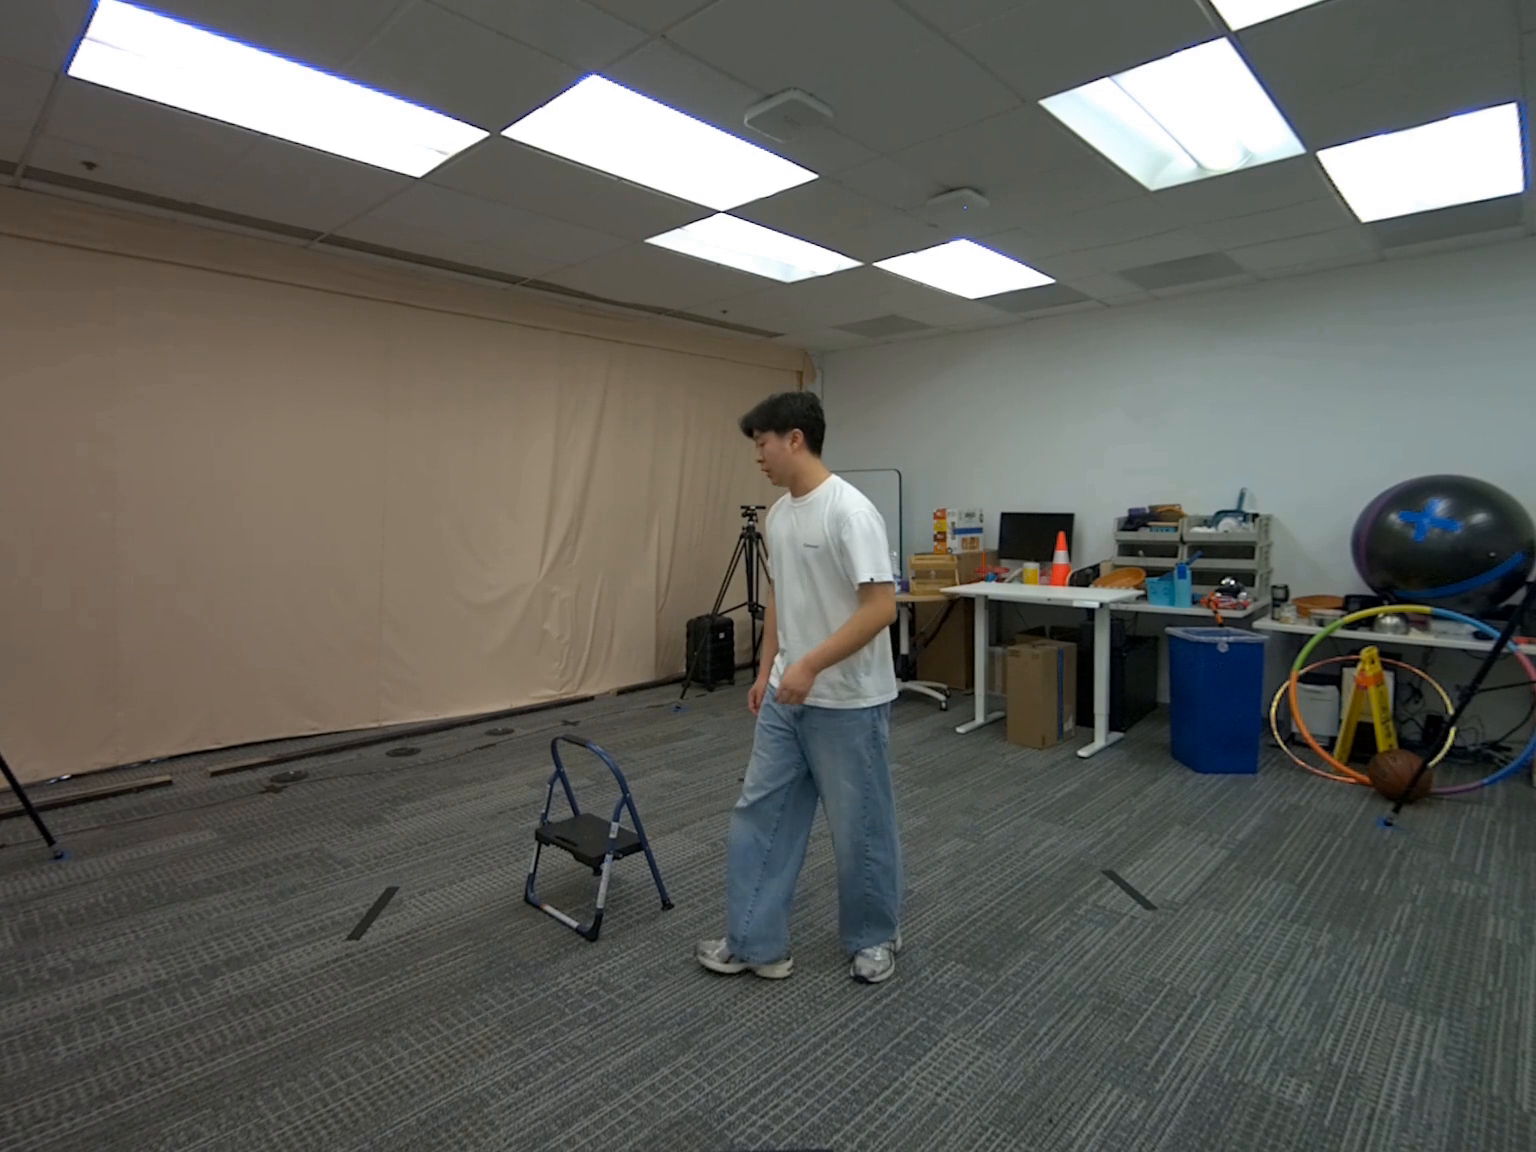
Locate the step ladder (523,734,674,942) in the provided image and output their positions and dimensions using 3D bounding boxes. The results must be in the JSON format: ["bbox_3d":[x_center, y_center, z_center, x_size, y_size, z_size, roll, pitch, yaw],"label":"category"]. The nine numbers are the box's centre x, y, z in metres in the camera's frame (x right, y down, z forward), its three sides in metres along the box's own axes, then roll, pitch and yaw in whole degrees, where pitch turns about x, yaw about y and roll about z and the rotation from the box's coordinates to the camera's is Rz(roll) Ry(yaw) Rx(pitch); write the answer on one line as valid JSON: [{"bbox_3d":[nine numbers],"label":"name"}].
[{"bbox_3d":[-0.599,0.847,2.936,0.445,0.605,0.338,2,4,43],"label":"step ladder"}]
